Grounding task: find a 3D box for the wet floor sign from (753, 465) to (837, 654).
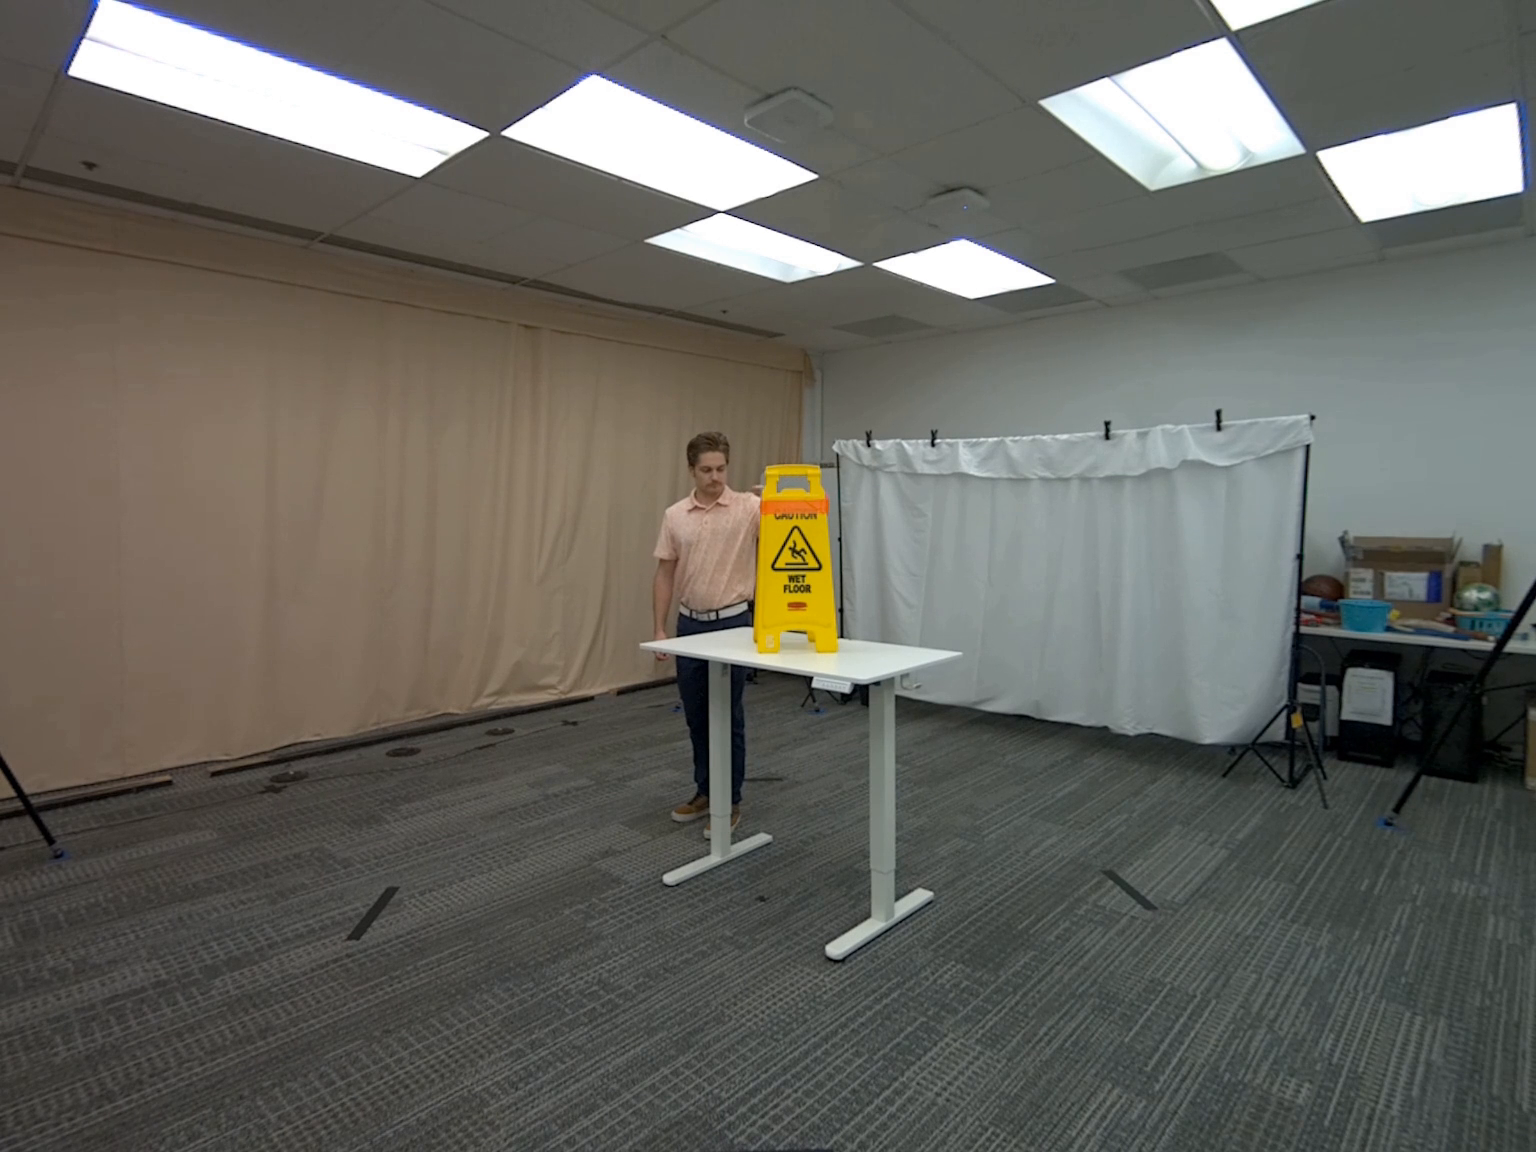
[{"bbox_3d":[0.094,-0.065,3.011,0.282,0.645,0.290,0,2,-2],"label":"wet floor sign"}]
